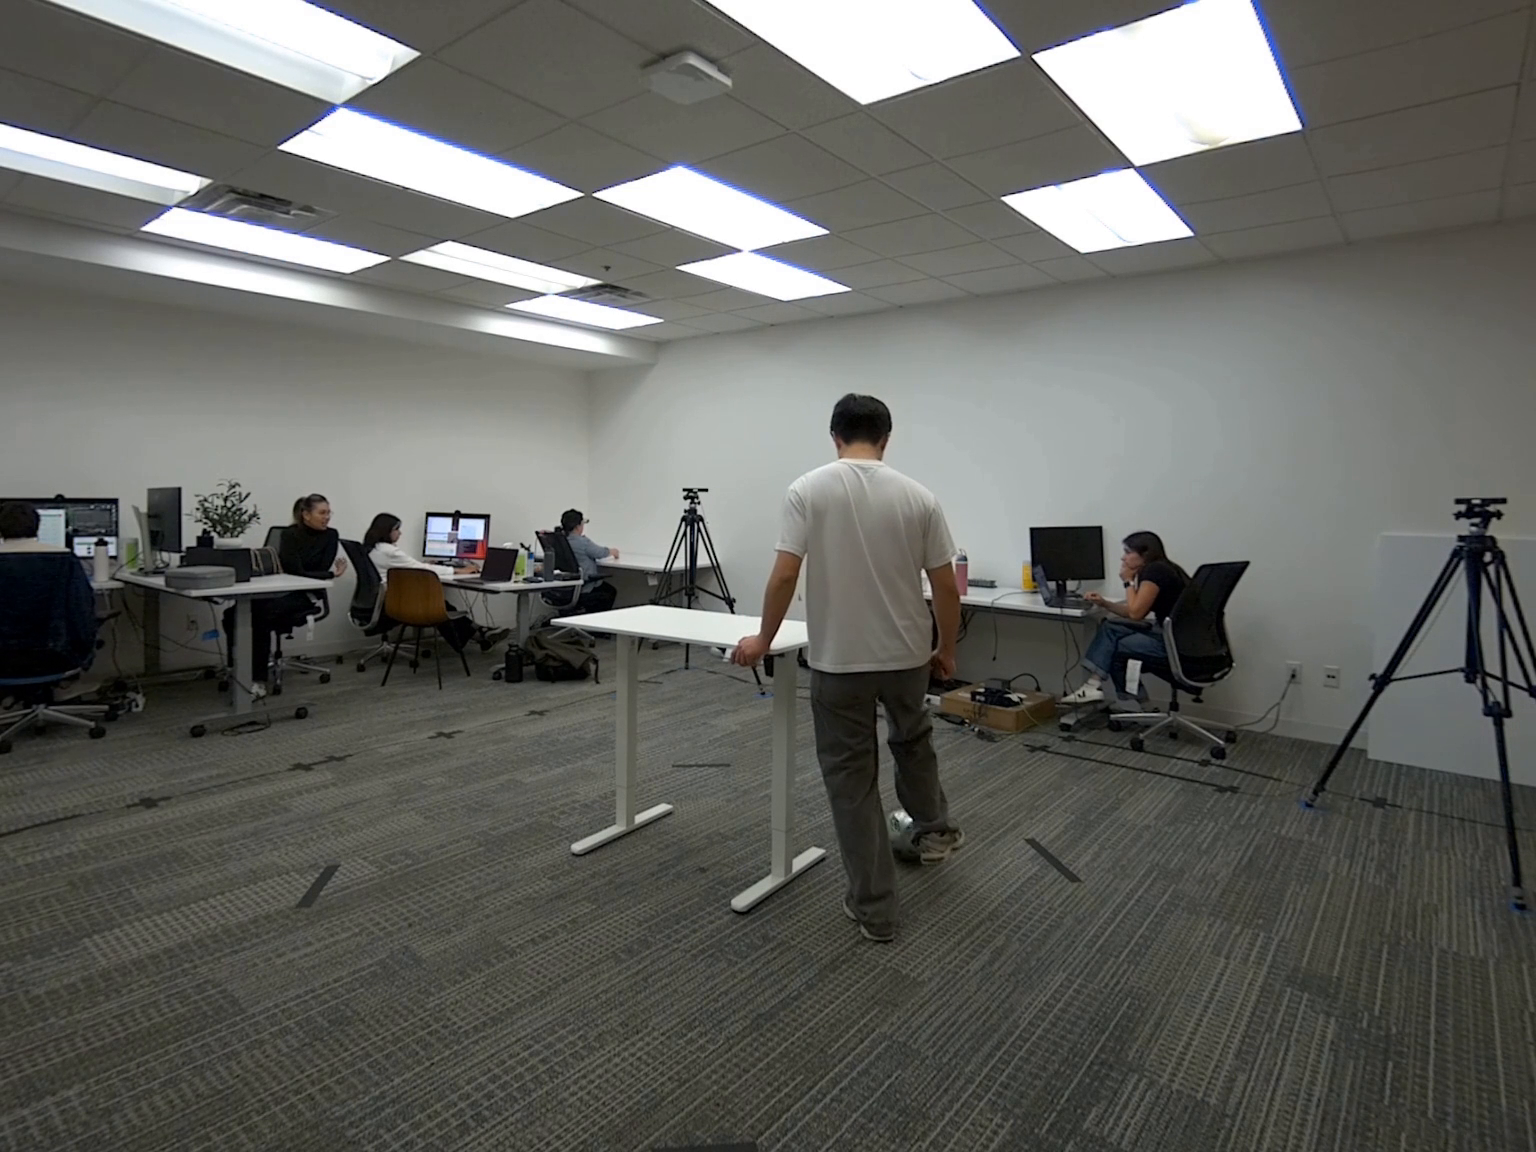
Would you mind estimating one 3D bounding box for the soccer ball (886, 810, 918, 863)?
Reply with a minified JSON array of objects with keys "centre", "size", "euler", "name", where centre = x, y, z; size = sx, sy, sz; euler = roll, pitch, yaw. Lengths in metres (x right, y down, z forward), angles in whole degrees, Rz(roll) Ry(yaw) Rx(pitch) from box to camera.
[{"centre":[0.536,0.969,3.242],"size":[0.187,0.187,0.188],"euler":[1,4,-2],"name":"soccer ball"}]
